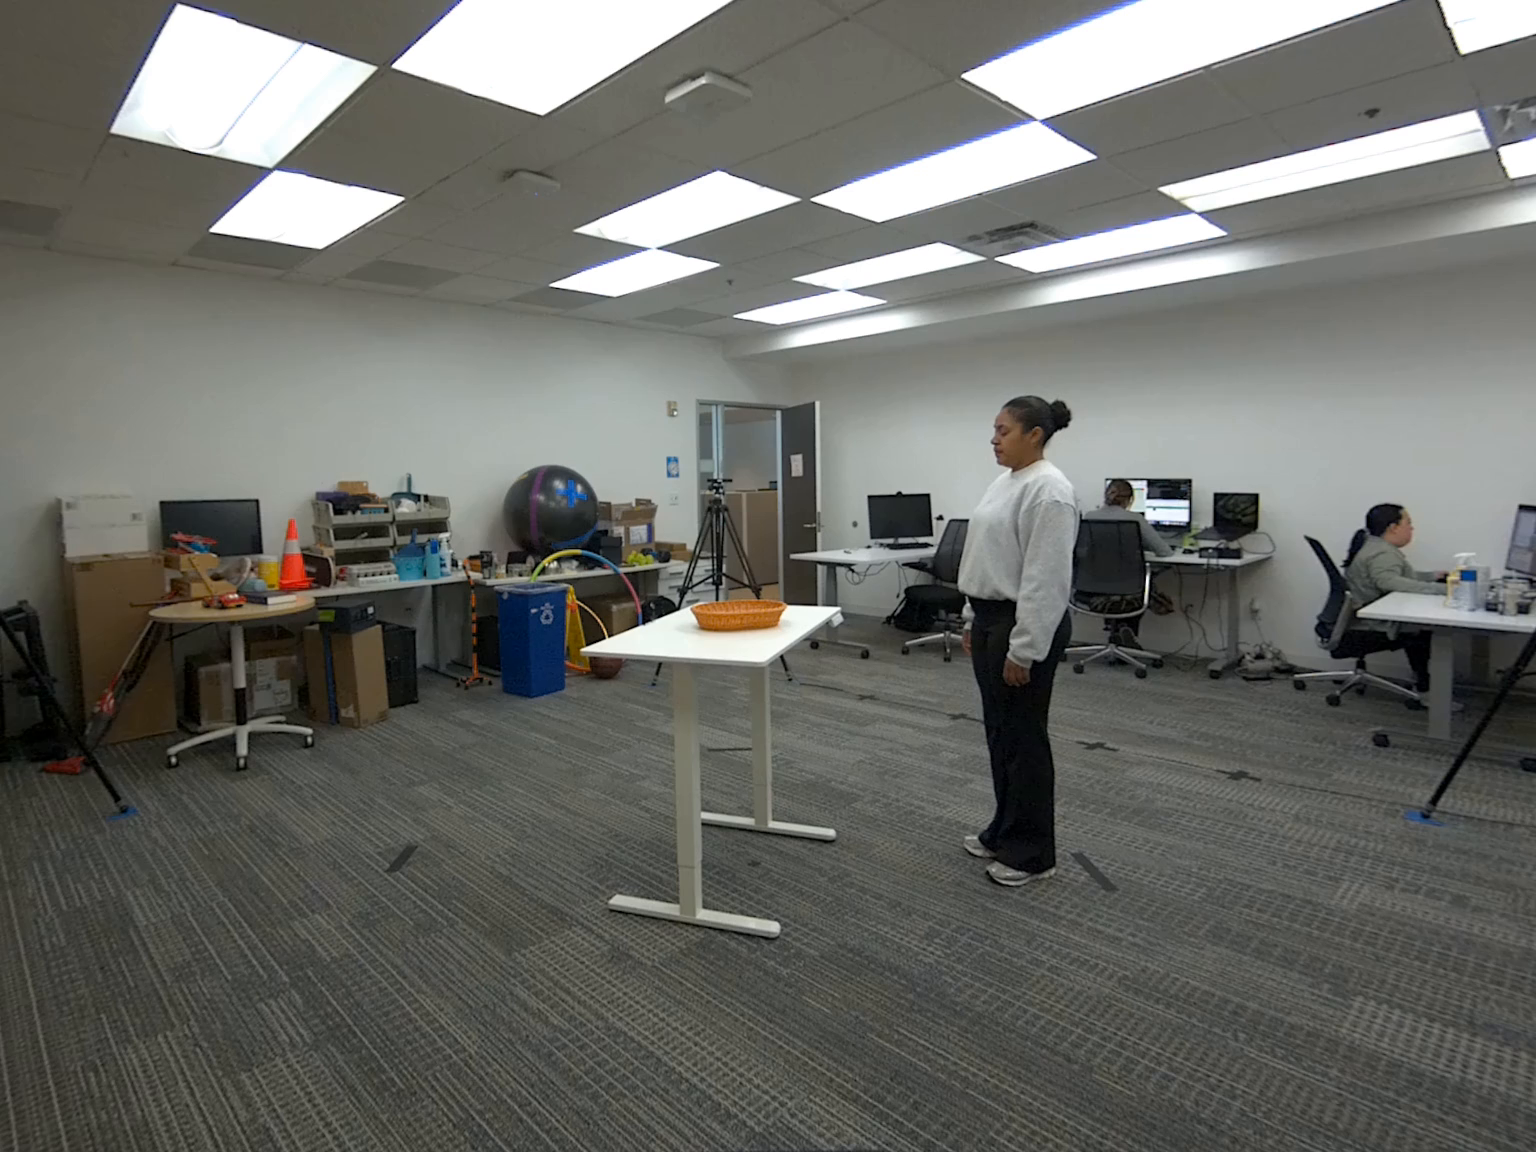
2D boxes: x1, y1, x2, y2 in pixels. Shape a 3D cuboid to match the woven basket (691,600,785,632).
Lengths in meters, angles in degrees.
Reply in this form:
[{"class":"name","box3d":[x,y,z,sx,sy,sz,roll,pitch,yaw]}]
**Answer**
[{"class":"woven basket","box3d":[-0.088,0.145,3.002,0.346,0.073,0.257,-3,6,-14]}]
